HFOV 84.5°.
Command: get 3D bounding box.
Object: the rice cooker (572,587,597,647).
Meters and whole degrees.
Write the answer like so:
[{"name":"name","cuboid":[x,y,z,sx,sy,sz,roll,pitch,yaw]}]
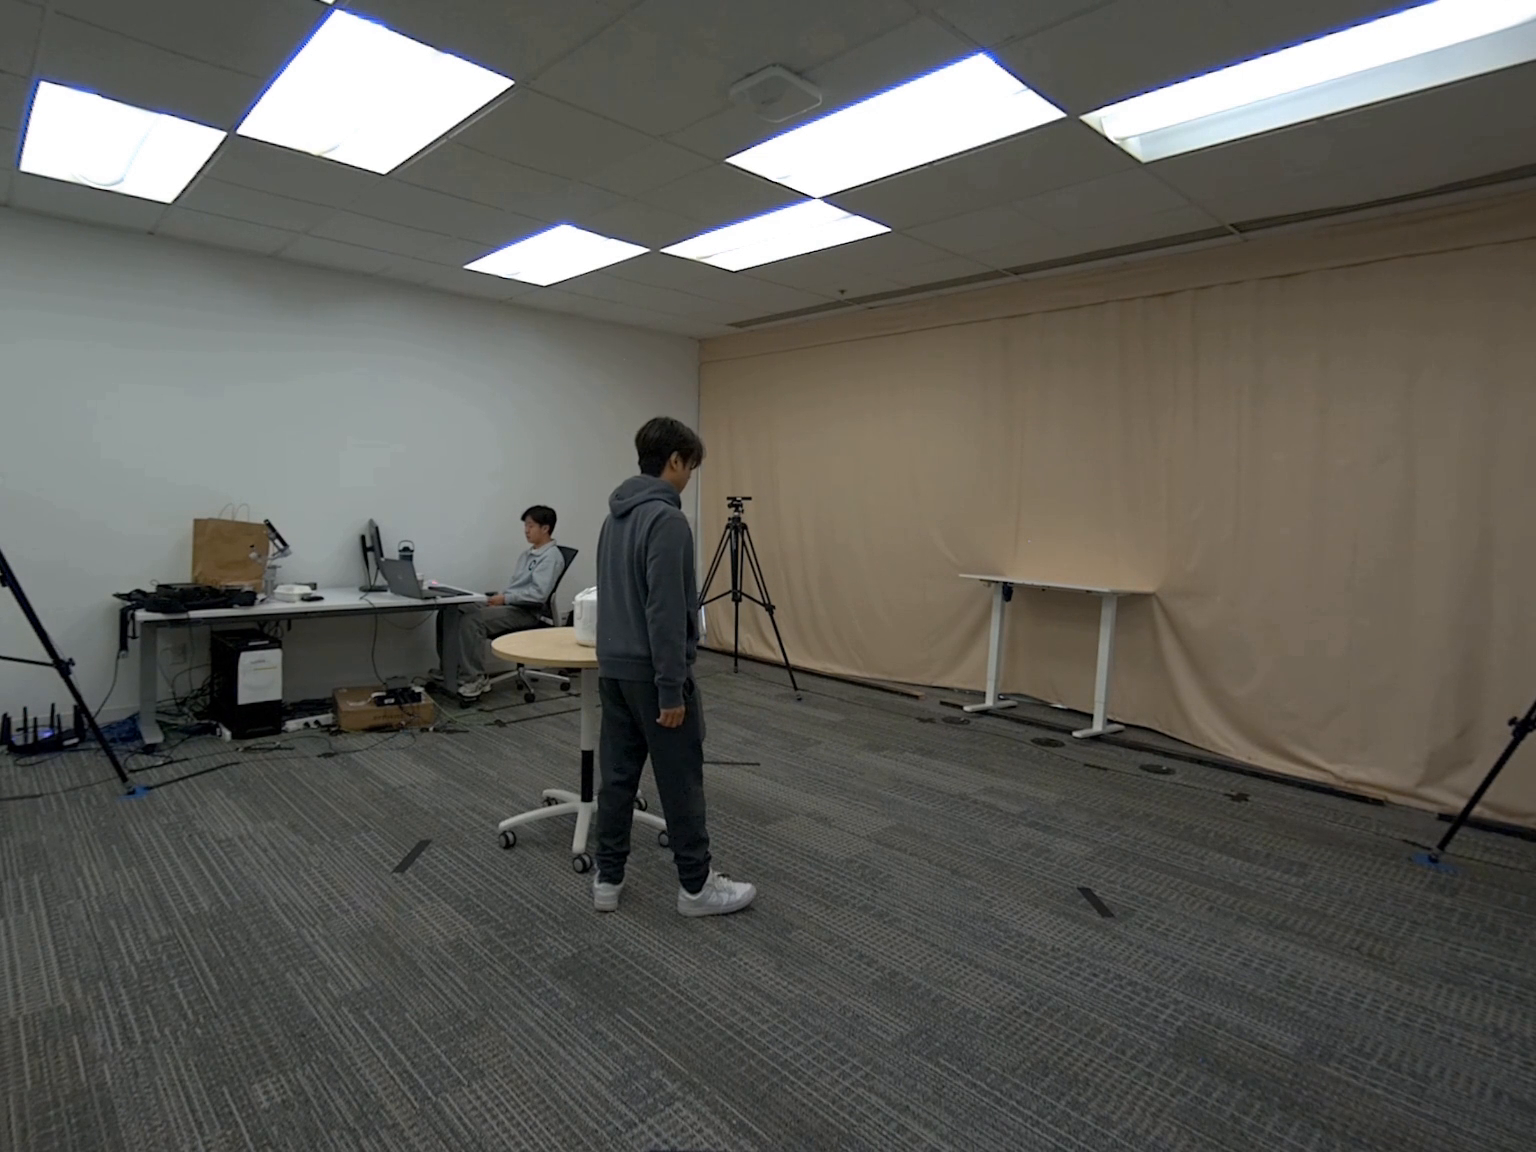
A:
[{"name":"rice cooker","cuboid":[-0.665,0.156,3.371,0.215,0.232,0.223,-2,5,-44]}]
